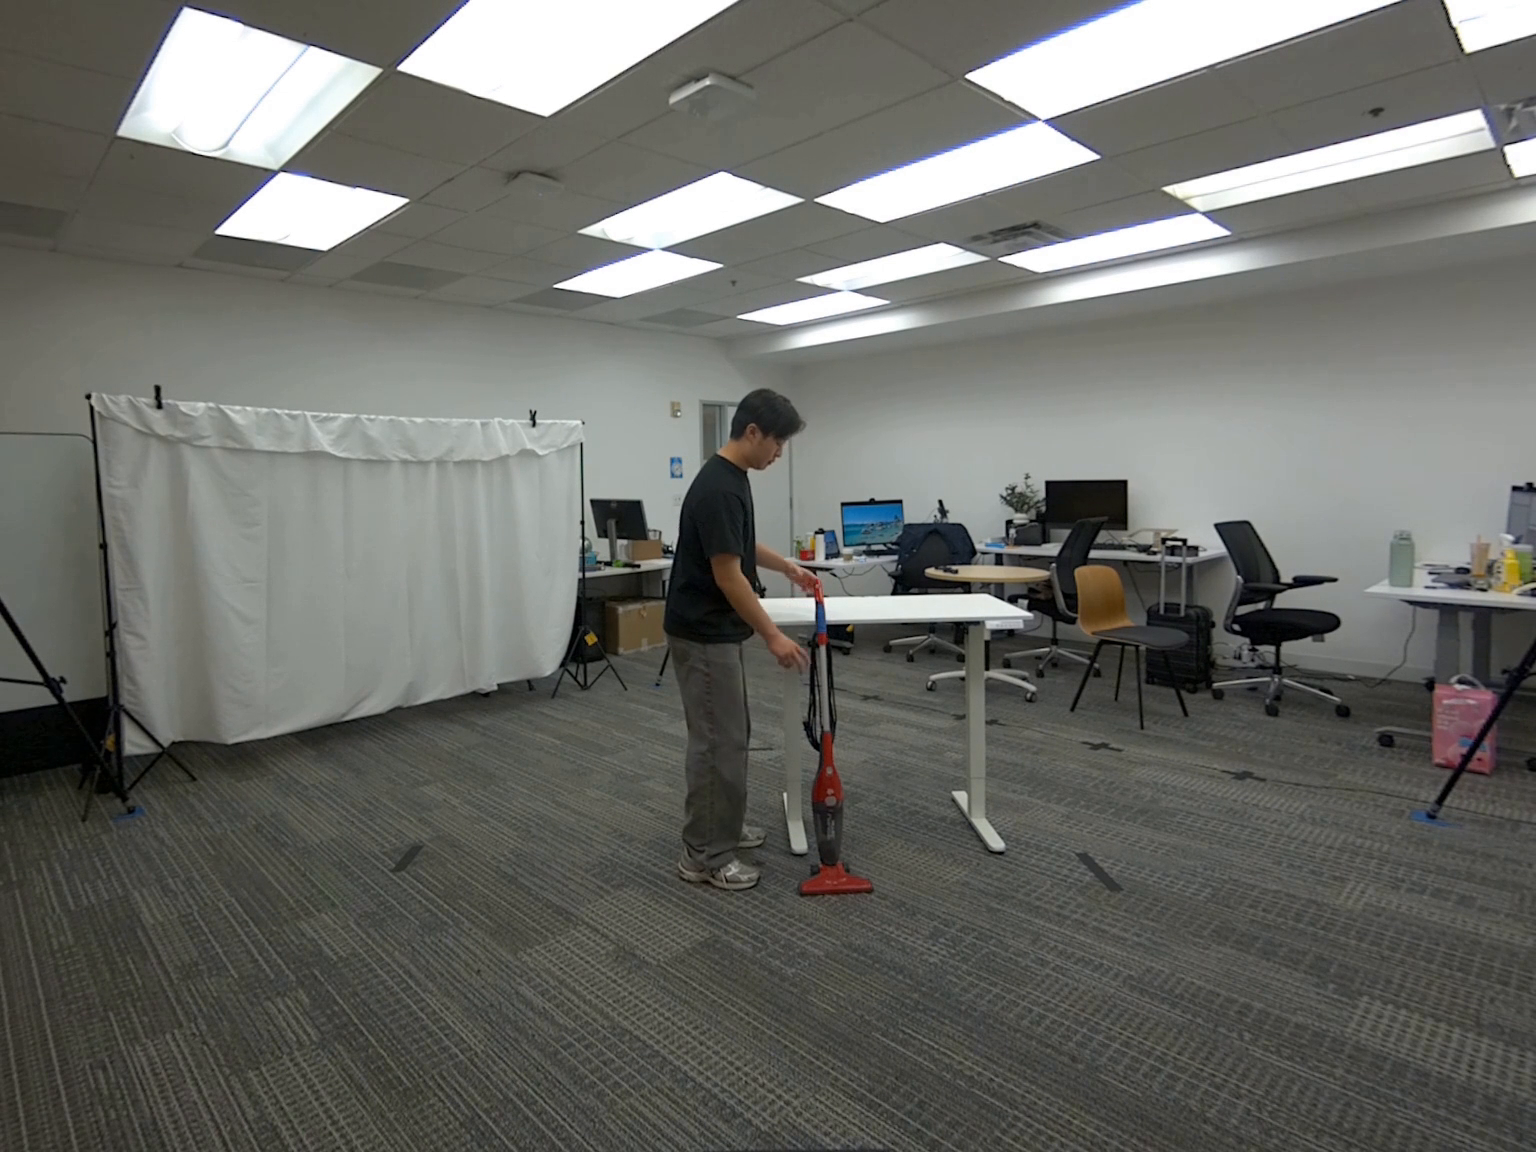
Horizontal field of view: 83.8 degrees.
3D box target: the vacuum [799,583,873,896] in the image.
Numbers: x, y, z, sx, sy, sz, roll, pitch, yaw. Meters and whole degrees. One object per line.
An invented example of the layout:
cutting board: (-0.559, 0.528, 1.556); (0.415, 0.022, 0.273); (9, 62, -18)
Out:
vacuum: (0.203, 0.534, 3.030); (0.252, 1.059, 0.143); (-2, -10, -2)
